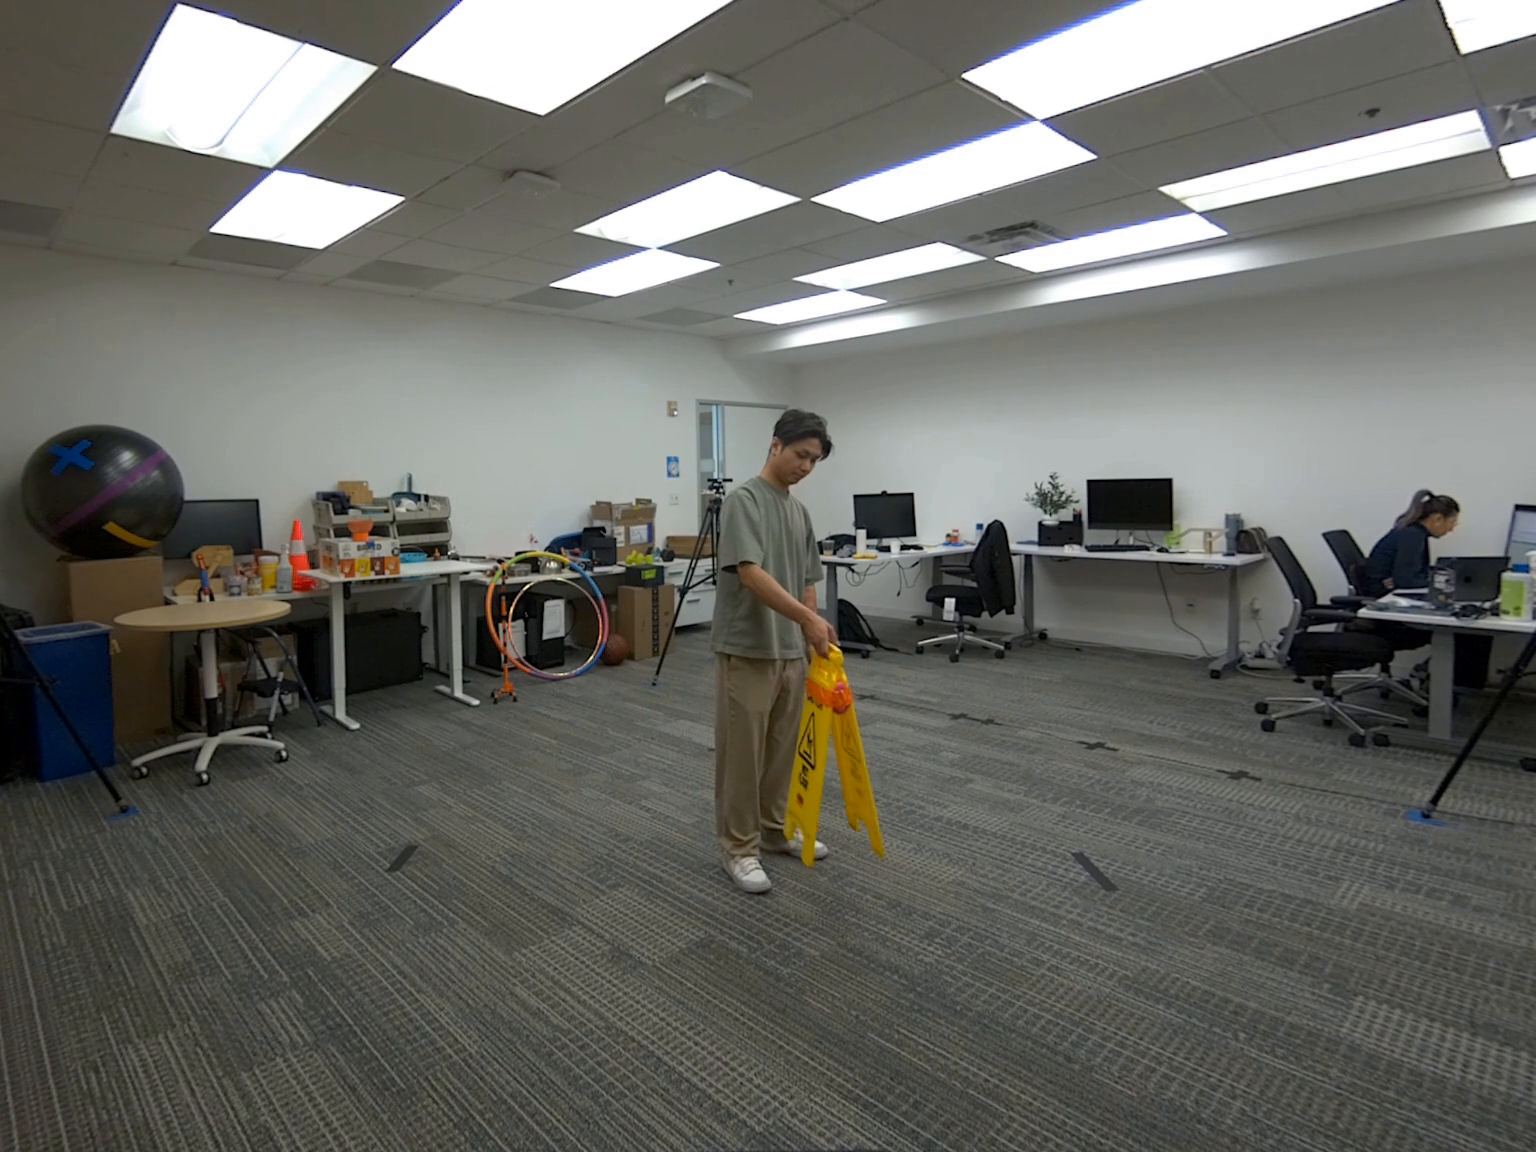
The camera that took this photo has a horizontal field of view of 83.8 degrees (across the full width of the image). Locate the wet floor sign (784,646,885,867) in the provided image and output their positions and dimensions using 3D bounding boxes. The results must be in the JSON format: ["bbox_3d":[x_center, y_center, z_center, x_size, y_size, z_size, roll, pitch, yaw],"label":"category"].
[{"bbox_3d":[0.203,0.543,2.711,0.286,0.644,0.287,-2,4,-14],"label":"wet floor sign"}]
